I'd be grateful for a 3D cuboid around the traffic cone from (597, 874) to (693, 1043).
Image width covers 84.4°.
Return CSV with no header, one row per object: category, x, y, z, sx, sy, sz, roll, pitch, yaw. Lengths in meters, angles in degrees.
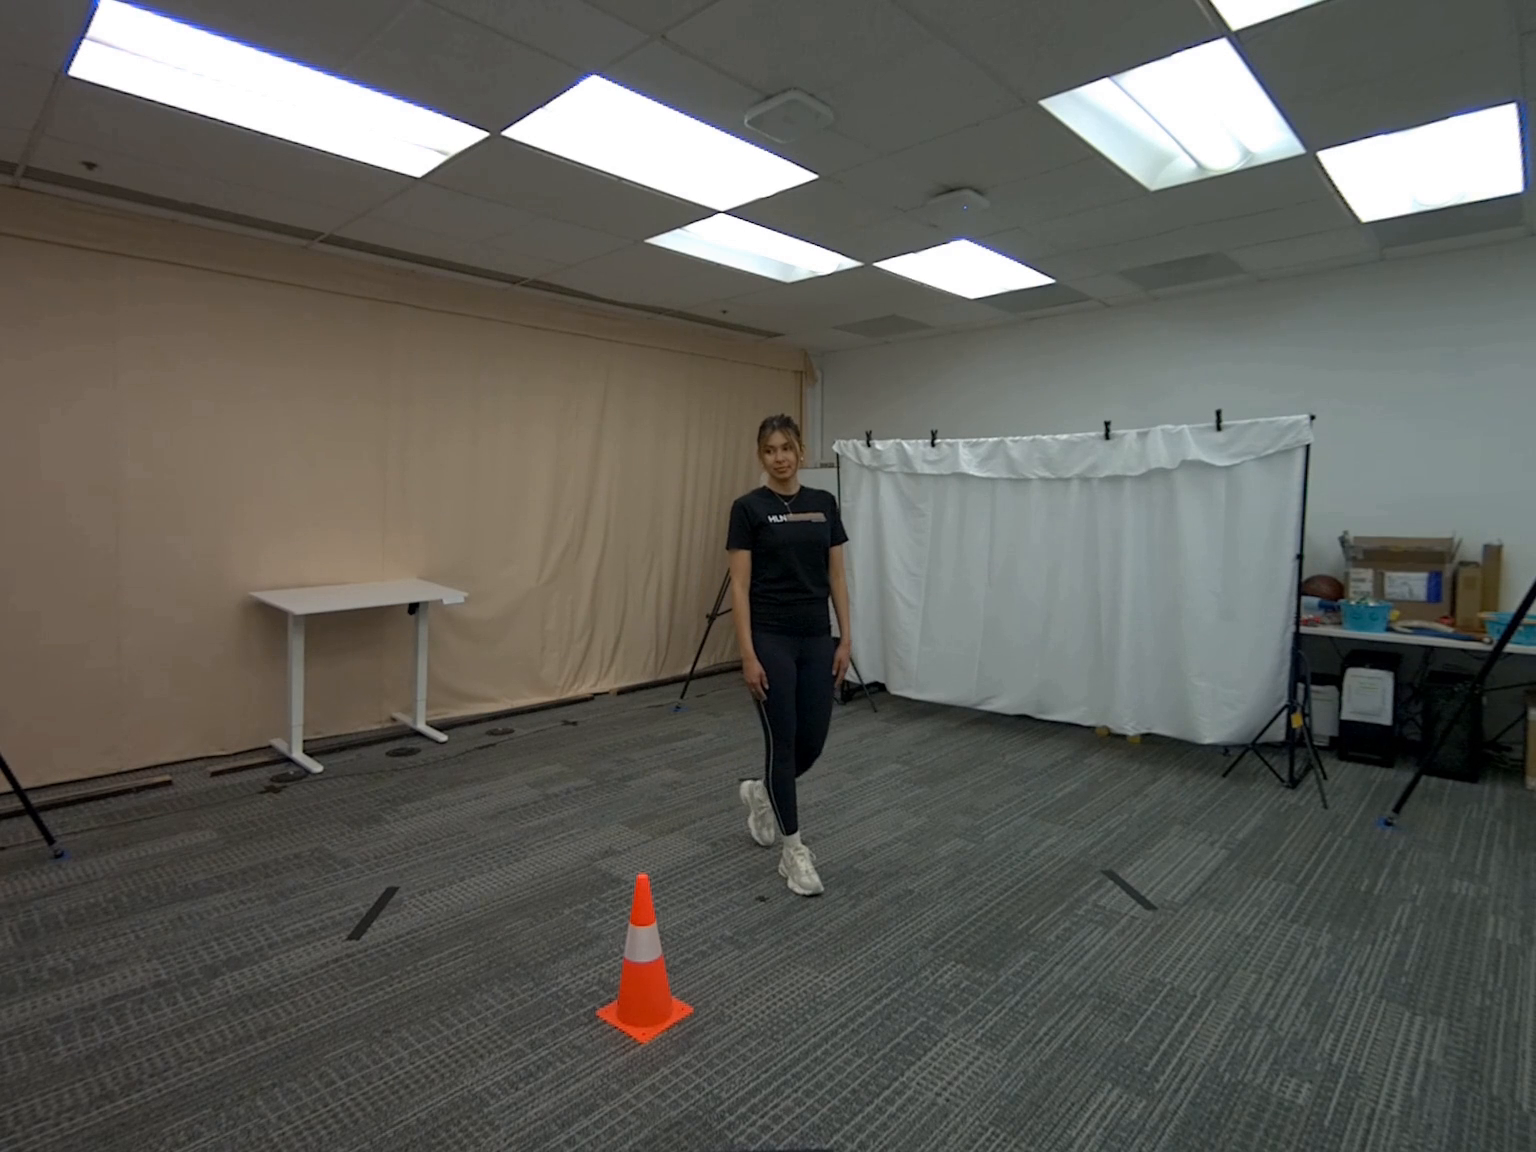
traffic cone,-0.337,1.018,2.305,0.210,0.383,0.198,3,3,44
